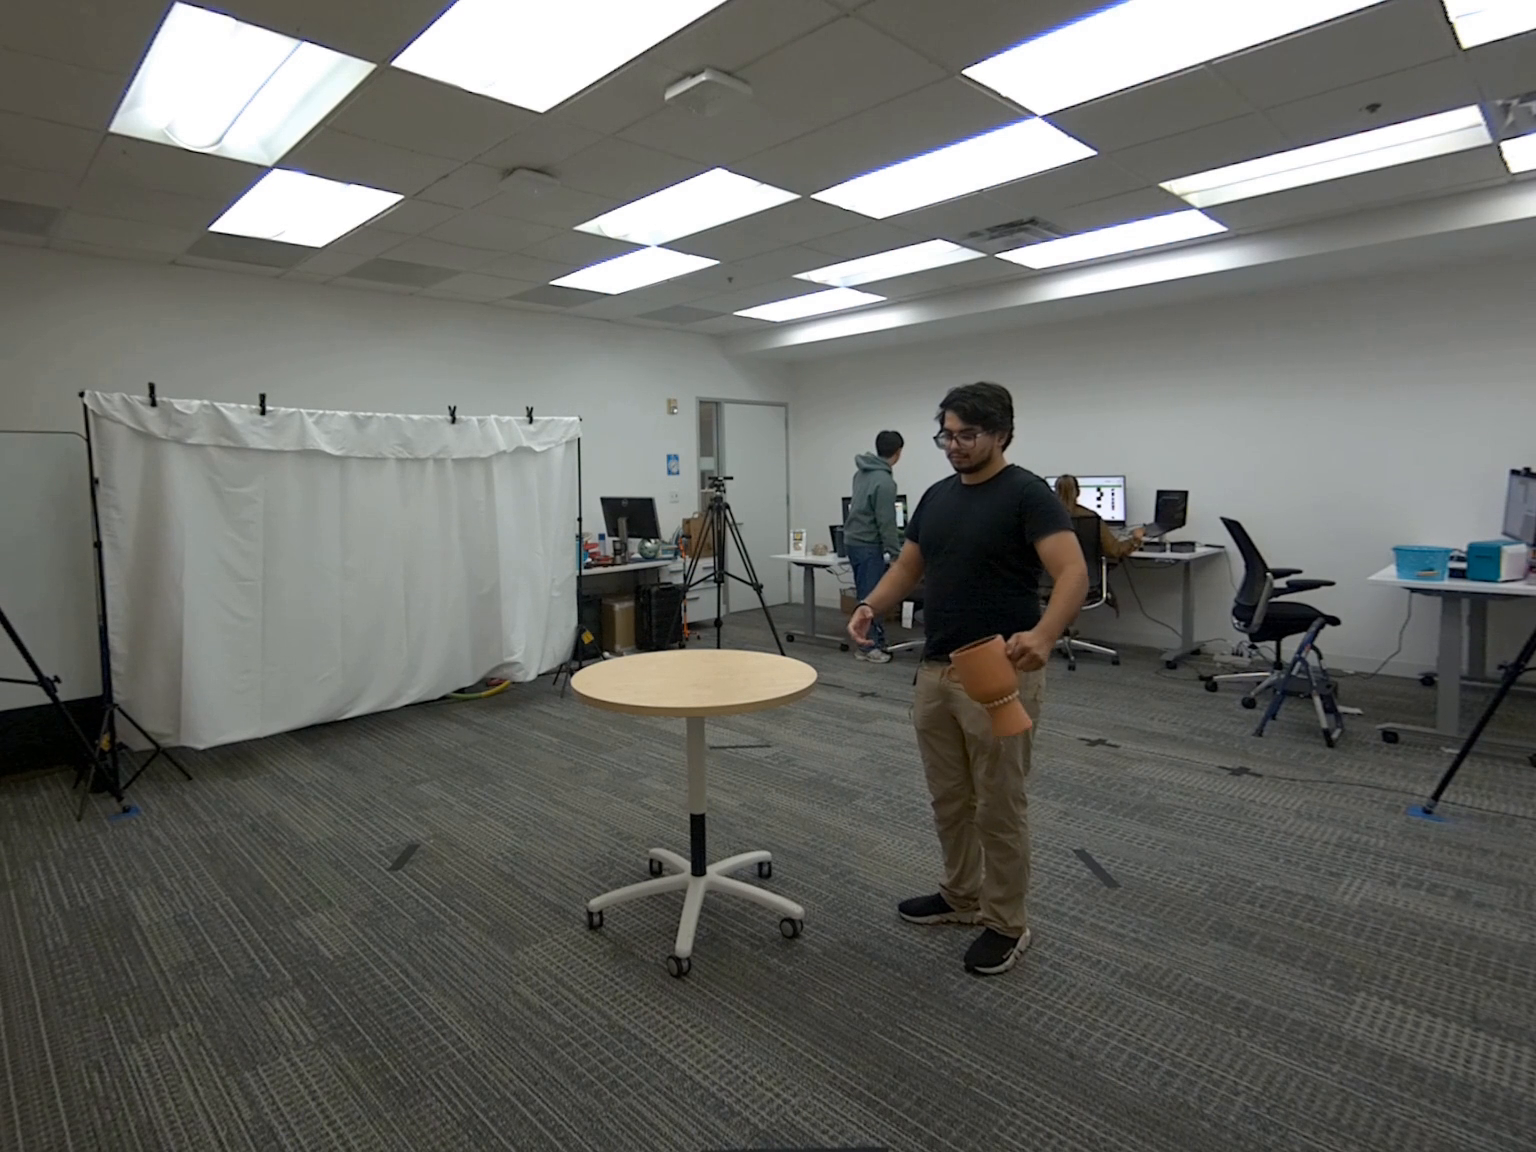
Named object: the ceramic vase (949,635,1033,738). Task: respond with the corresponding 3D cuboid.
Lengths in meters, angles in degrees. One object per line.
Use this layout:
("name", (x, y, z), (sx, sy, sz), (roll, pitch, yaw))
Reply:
("ceramic vase", (0.543, 0.274, 2.054), (0.133, 0.221, 0.159), (-20, -6, -21))
